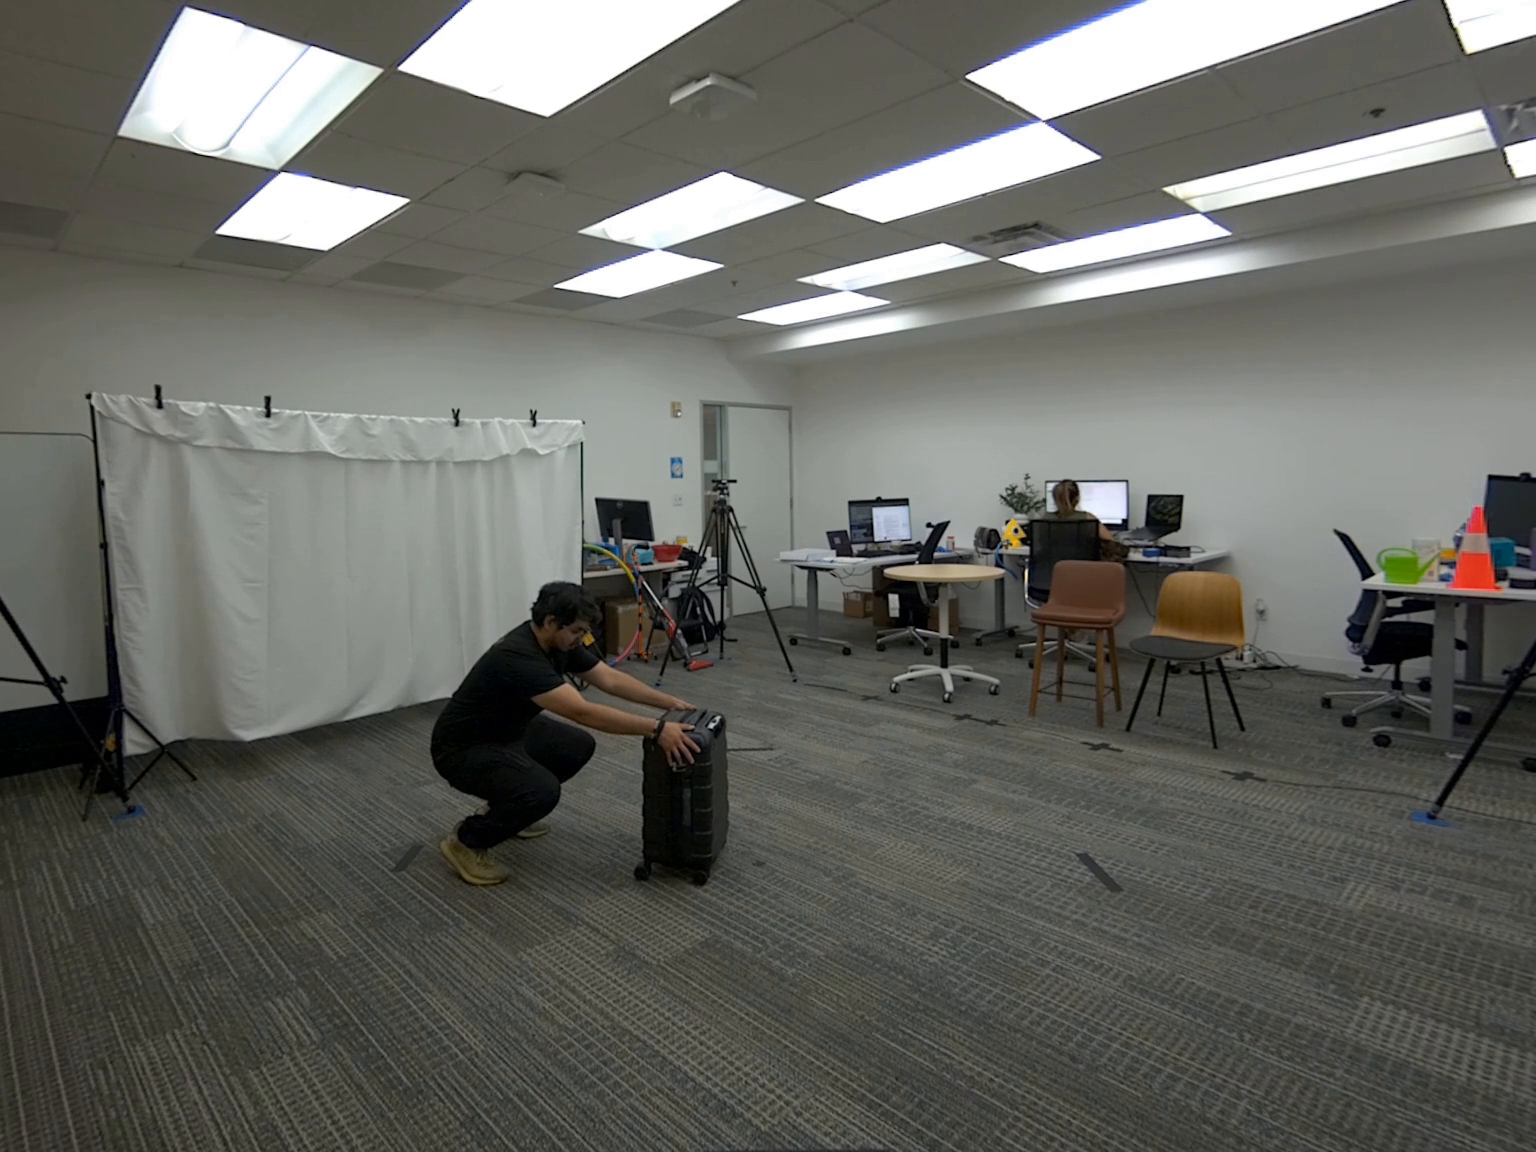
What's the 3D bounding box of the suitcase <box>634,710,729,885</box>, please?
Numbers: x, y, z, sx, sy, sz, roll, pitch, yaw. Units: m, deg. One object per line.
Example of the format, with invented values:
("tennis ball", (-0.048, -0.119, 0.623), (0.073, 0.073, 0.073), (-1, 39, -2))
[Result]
("suitcase", (-0.297, 0.773, 3.104), (0.251, 0.547, 0.373), (3, 5, 8))
